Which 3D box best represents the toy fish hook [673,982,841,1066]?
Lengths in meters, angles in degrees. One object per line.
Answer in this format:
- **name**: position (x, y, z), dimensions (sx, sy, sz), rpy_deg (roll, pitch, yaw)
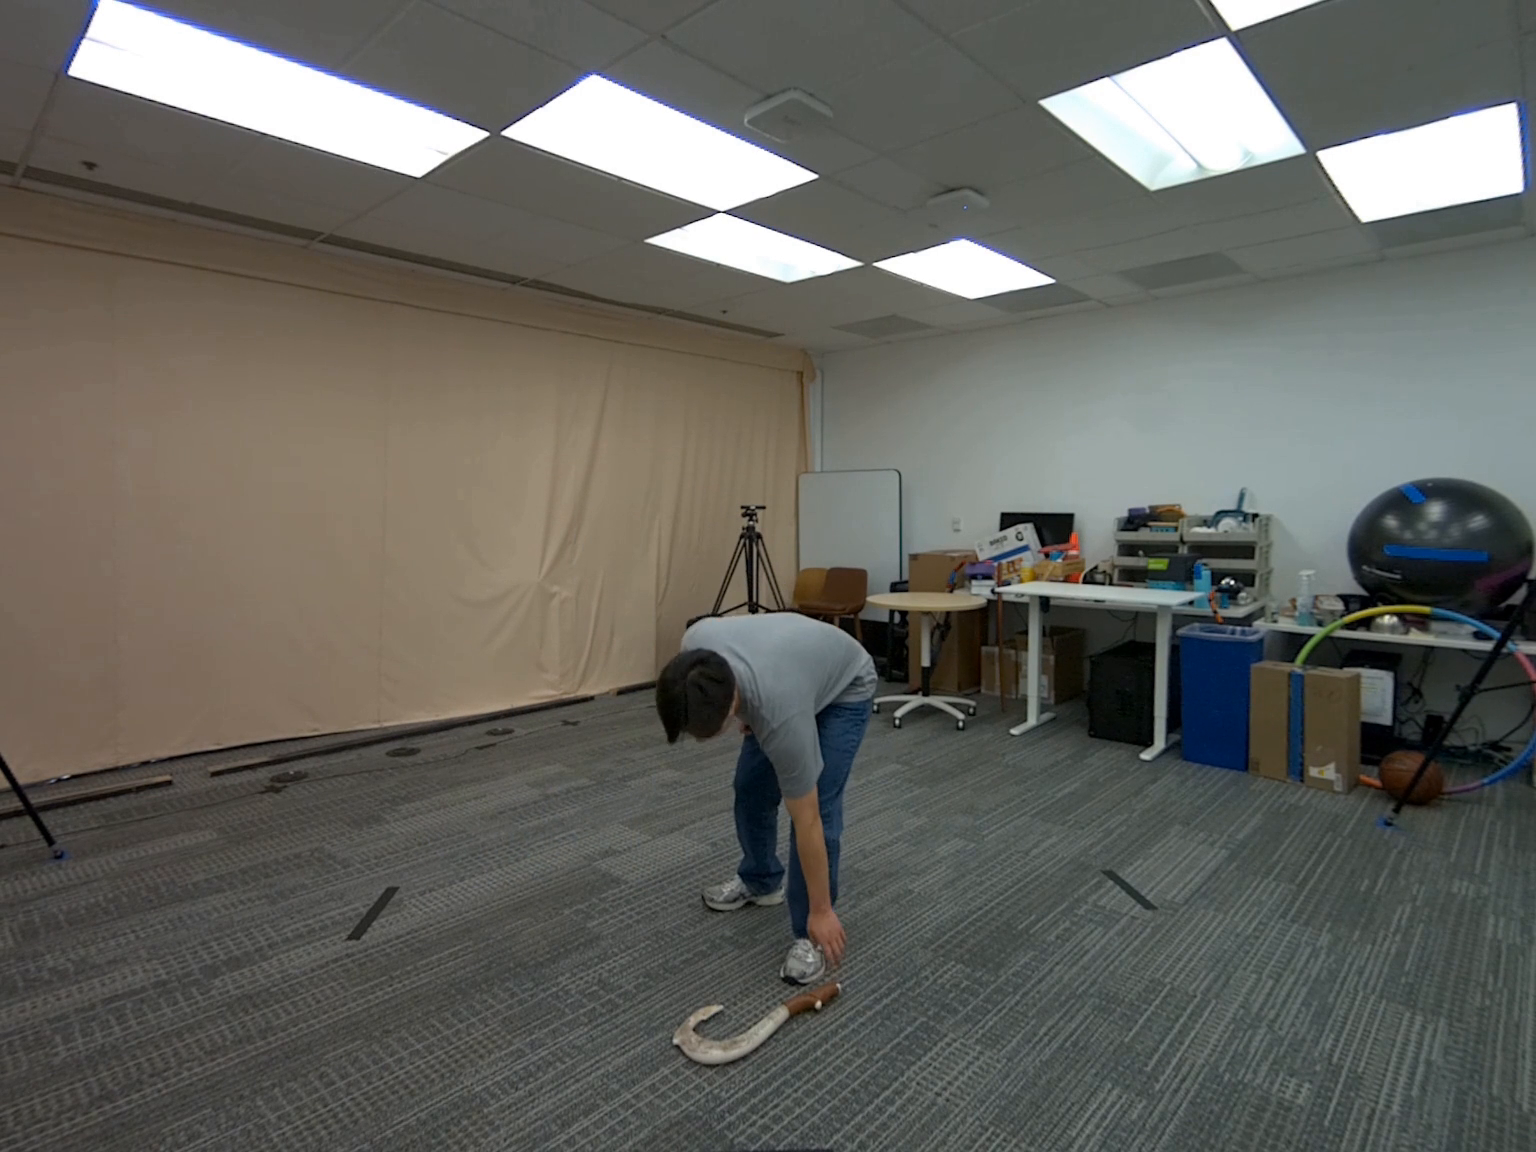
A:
- **toy fish hook**: position (-0.021, 1.173, 2.285), dimensions (0.491, 0.048, 0.232), rpy_deg (-4, 7, -38)
